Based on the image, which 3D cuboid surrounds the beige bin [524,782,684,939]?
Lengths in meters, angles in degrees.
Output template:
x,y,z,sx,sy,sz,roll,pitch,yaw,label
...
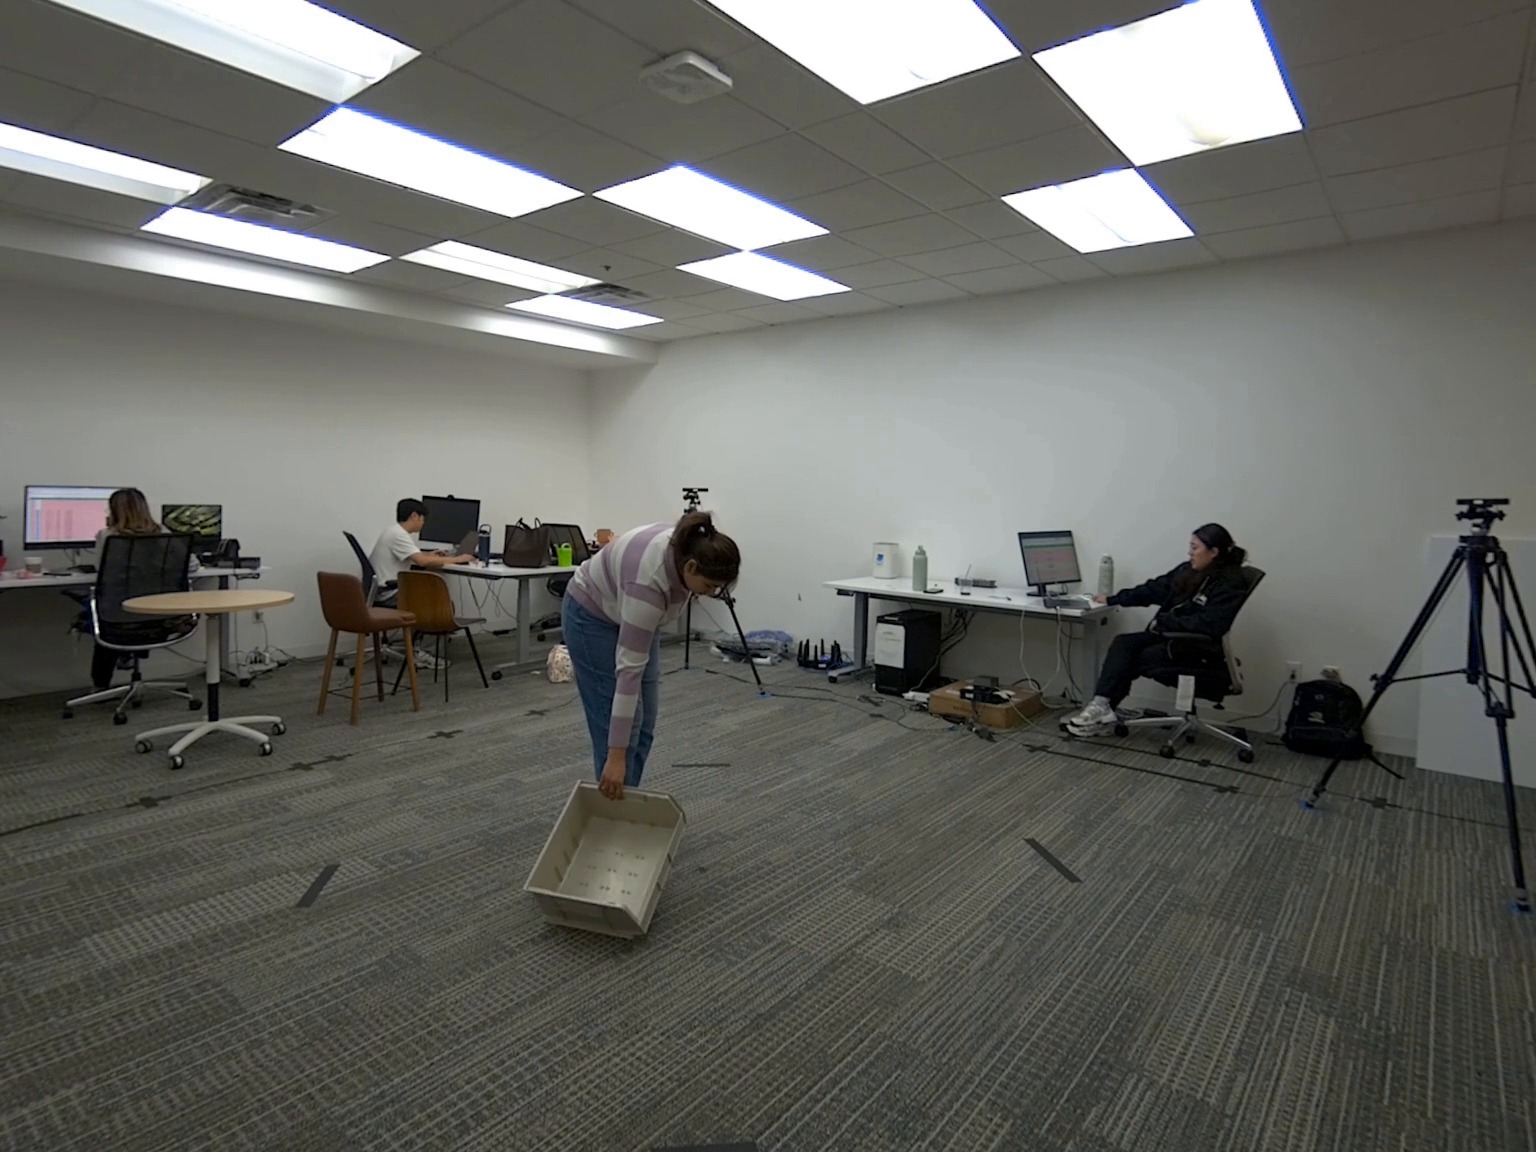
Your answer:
x,y,z,sx,sy,sz,roll,pitch,yaw,label
-0.509,0.911,2.755,0.385,0.183,0.428,0,38,18,beige bin
